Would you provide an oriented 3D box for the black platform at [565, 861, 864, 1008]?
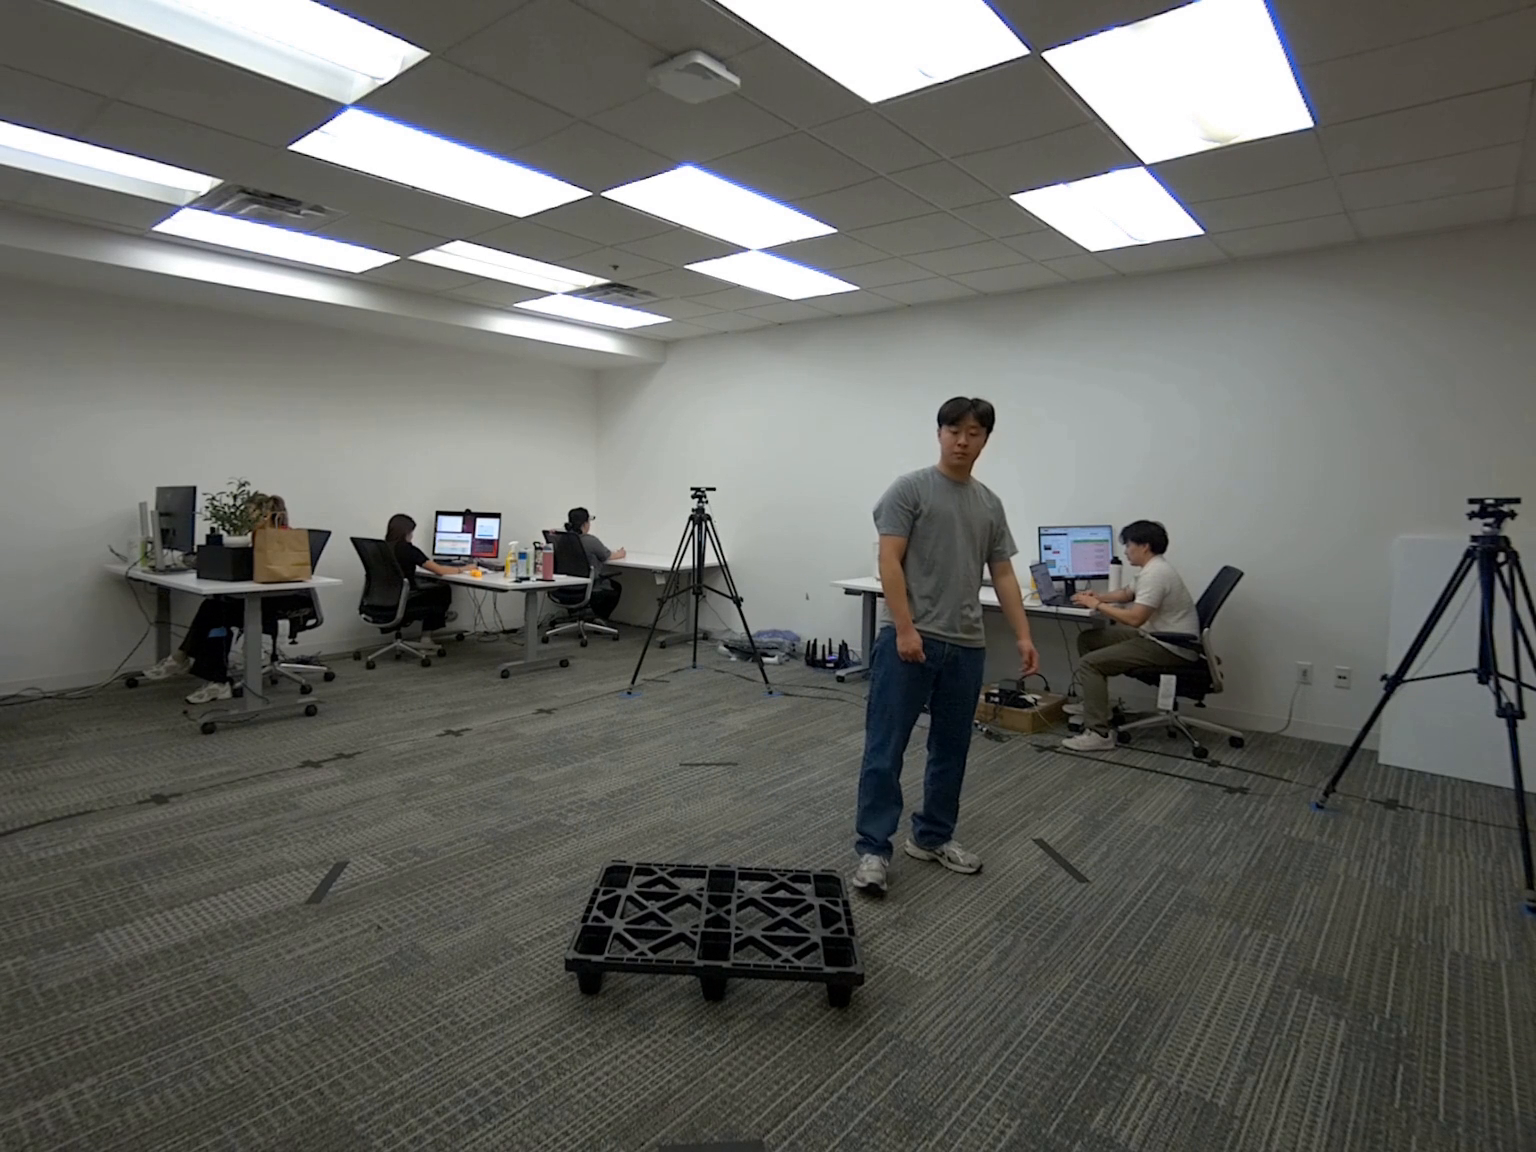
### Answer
[{"bbox_3d":[-0.160,1.054,2.538,0.808,0.143,0.606,2,5,2],"label":"black platform"}]
